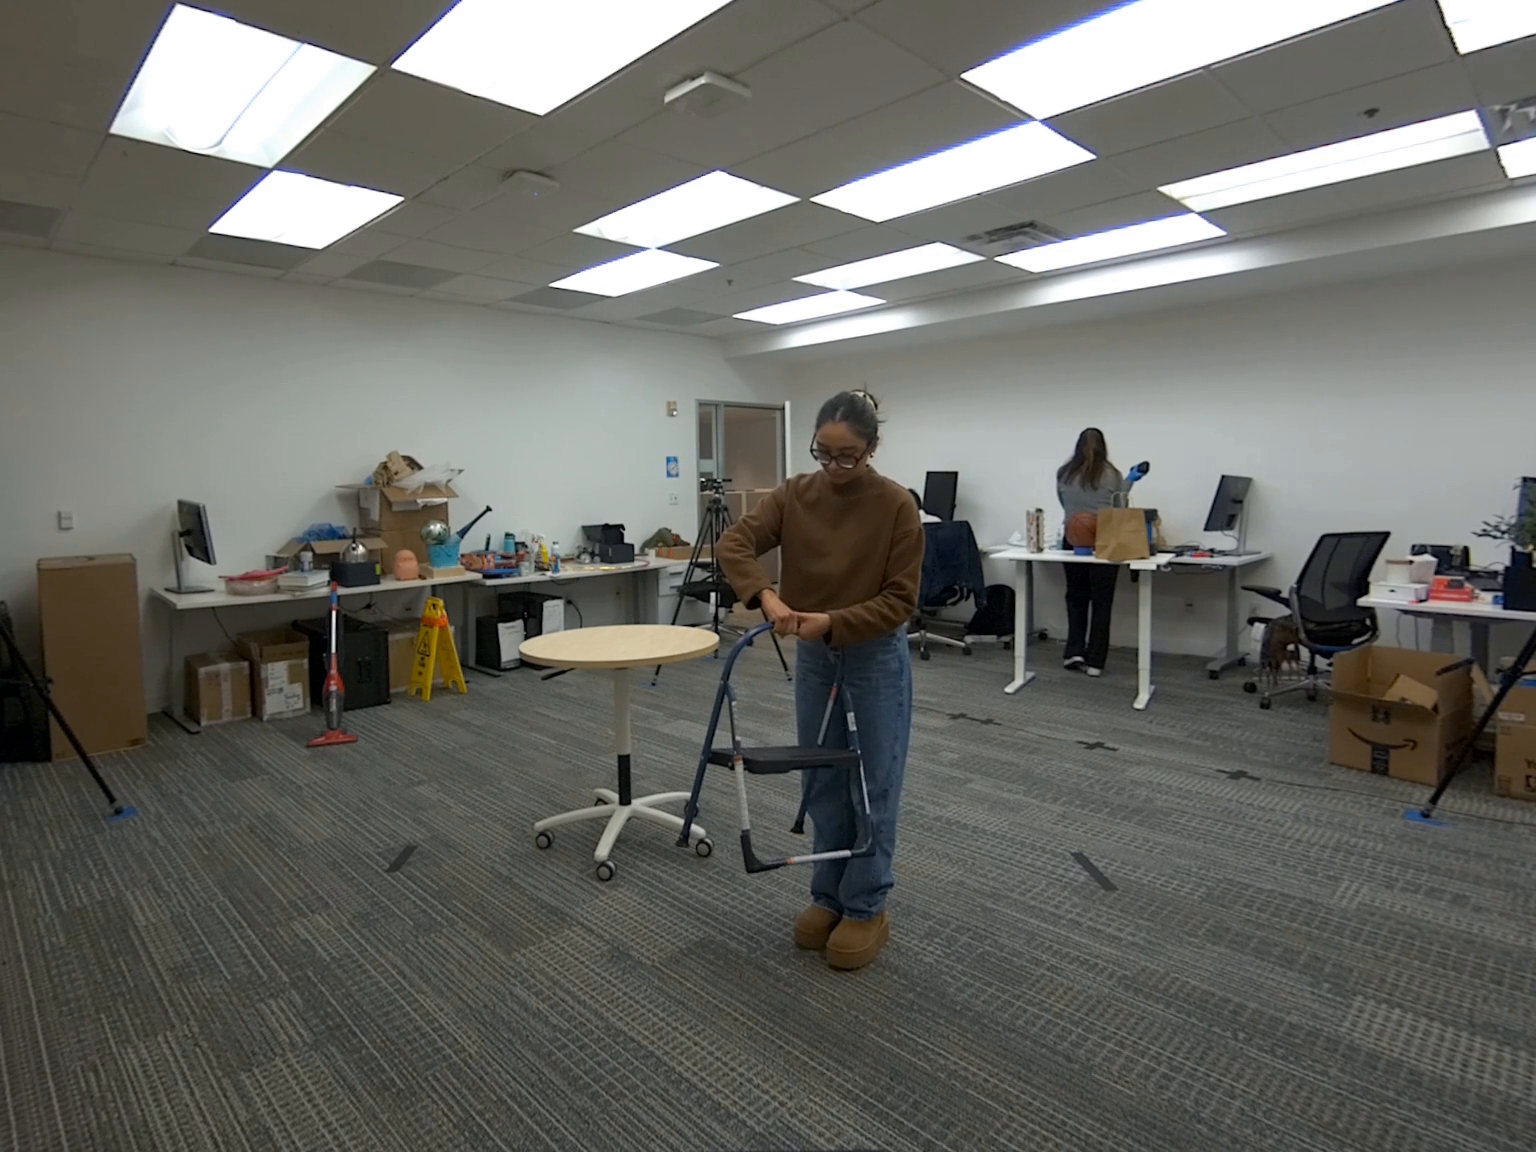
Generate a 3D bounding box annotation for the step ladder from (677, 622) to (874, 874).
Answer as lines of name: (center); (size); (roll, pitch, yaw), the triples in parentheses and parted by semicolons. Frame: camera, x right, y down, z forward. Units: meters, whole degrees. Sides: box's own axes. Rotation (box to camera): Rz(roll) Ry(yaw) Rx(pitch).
step ladder: (0.026, 0.433, 2.307); (0.418, 0.610, 0.357); (5, -8, -35)
